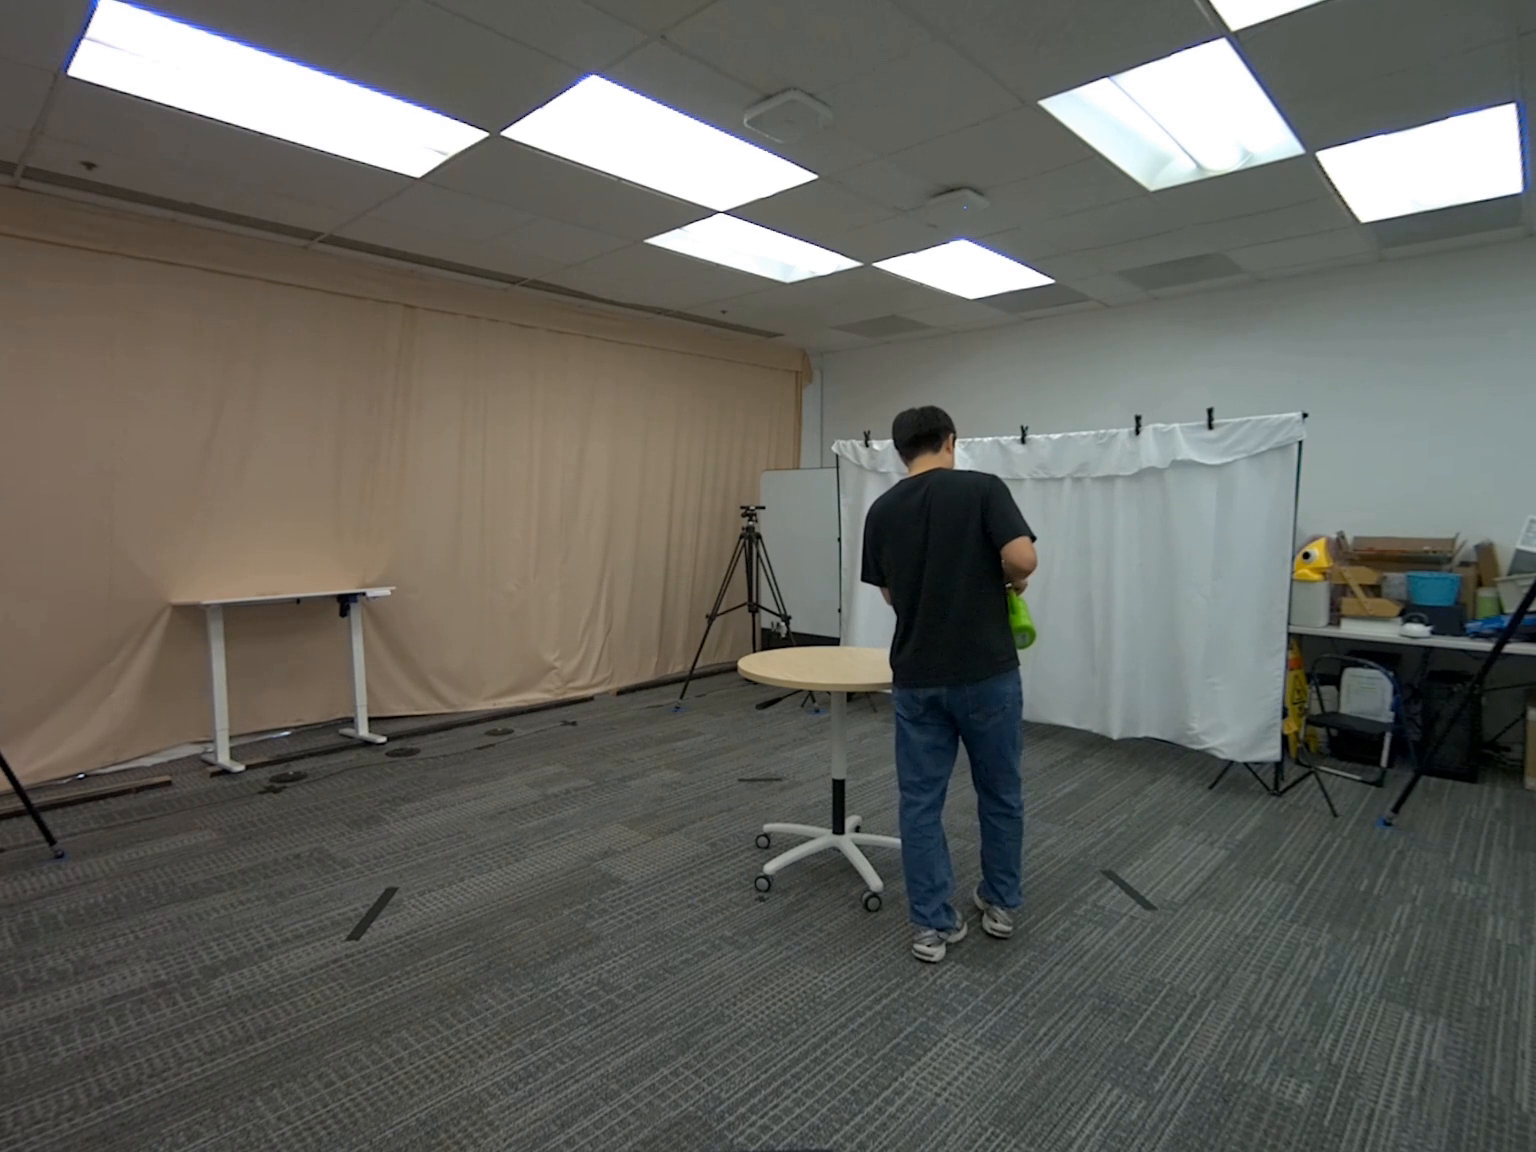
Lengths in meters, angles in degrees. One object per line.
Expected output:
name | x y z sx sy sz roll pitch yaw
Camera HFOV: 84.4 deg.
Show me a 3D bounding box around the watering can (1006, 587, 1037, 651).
watering can | 0.829 0.167 2.745 0.099 0.180 0.269 -17 -44 16
